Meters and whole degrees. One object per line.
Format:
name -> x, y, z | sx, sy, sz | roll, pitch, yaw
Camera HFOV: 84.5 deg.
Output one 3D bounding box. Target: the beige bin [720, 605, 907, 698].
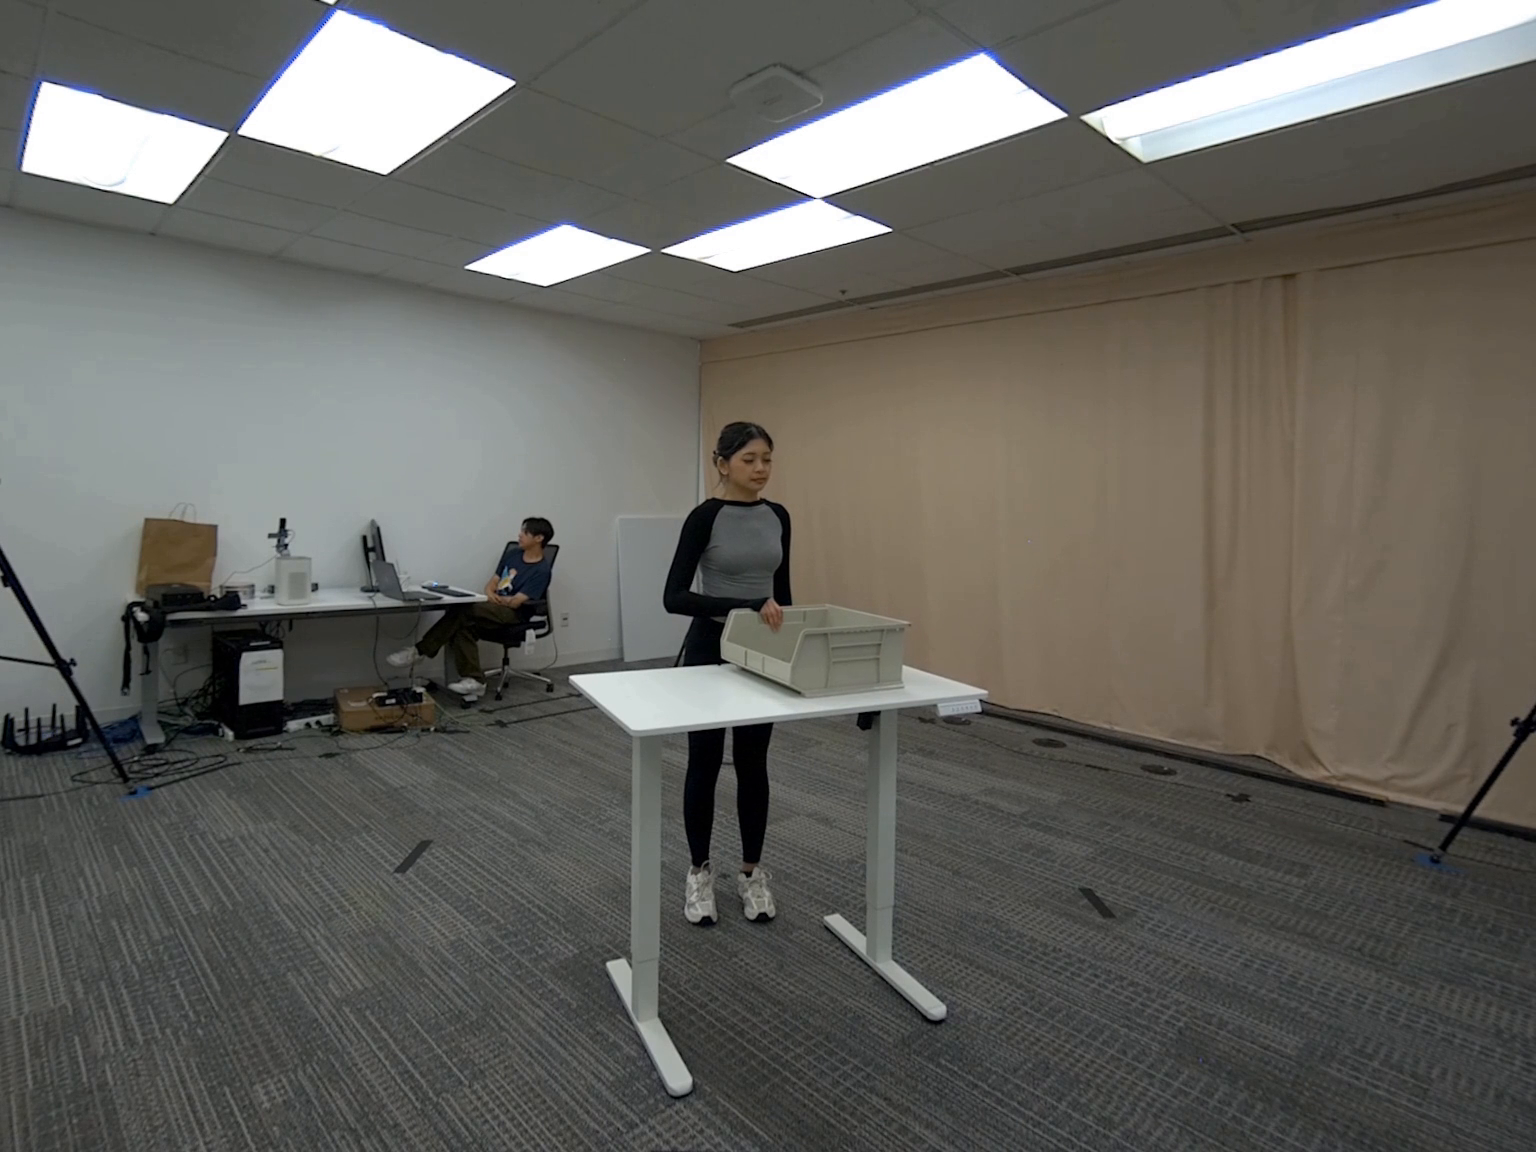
beige bin -> 0.118, 0.208, 2.396 | 0.370, 0.188, 0.431 | 0, 4, -27
